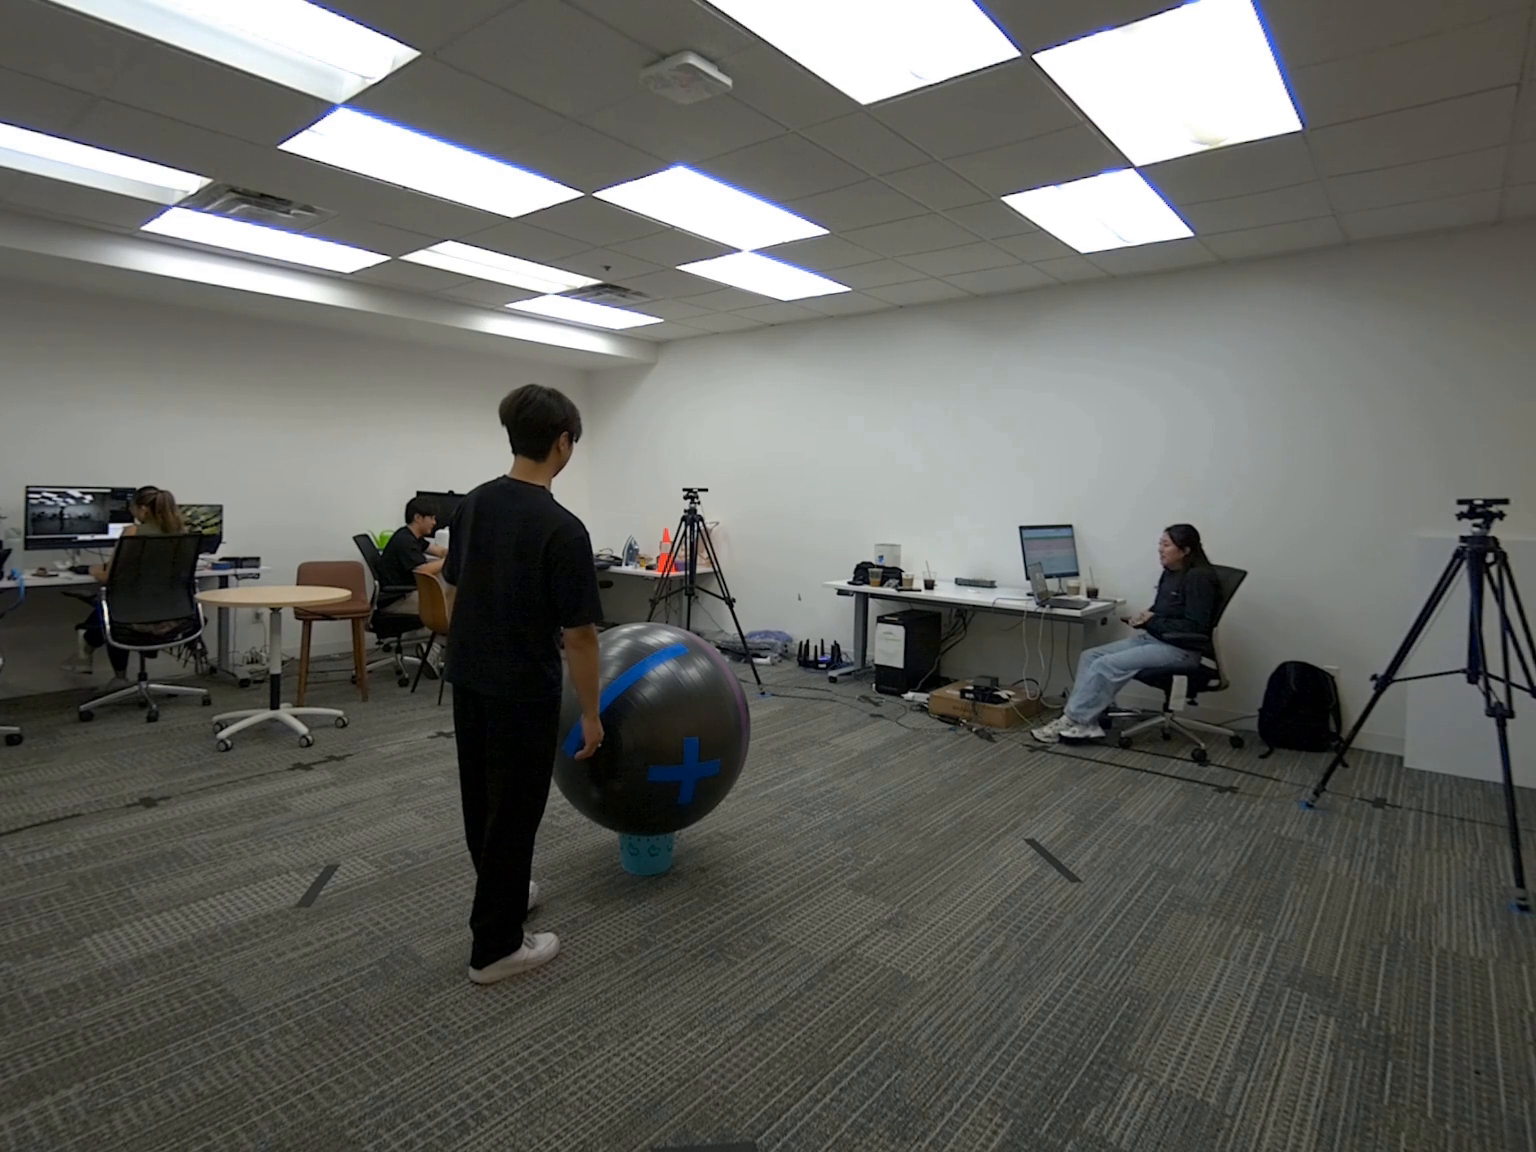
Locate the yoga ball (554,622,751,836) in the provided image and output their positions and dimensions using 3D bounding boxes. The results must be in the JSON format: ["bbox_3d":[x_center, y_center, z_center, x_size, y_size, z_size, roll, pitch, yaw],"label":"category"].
[{"bbox_3d":[-0.451,0.553,3.129,0.757,0.756,0.761,1,4,-2],"label":"yoga ball"}]
